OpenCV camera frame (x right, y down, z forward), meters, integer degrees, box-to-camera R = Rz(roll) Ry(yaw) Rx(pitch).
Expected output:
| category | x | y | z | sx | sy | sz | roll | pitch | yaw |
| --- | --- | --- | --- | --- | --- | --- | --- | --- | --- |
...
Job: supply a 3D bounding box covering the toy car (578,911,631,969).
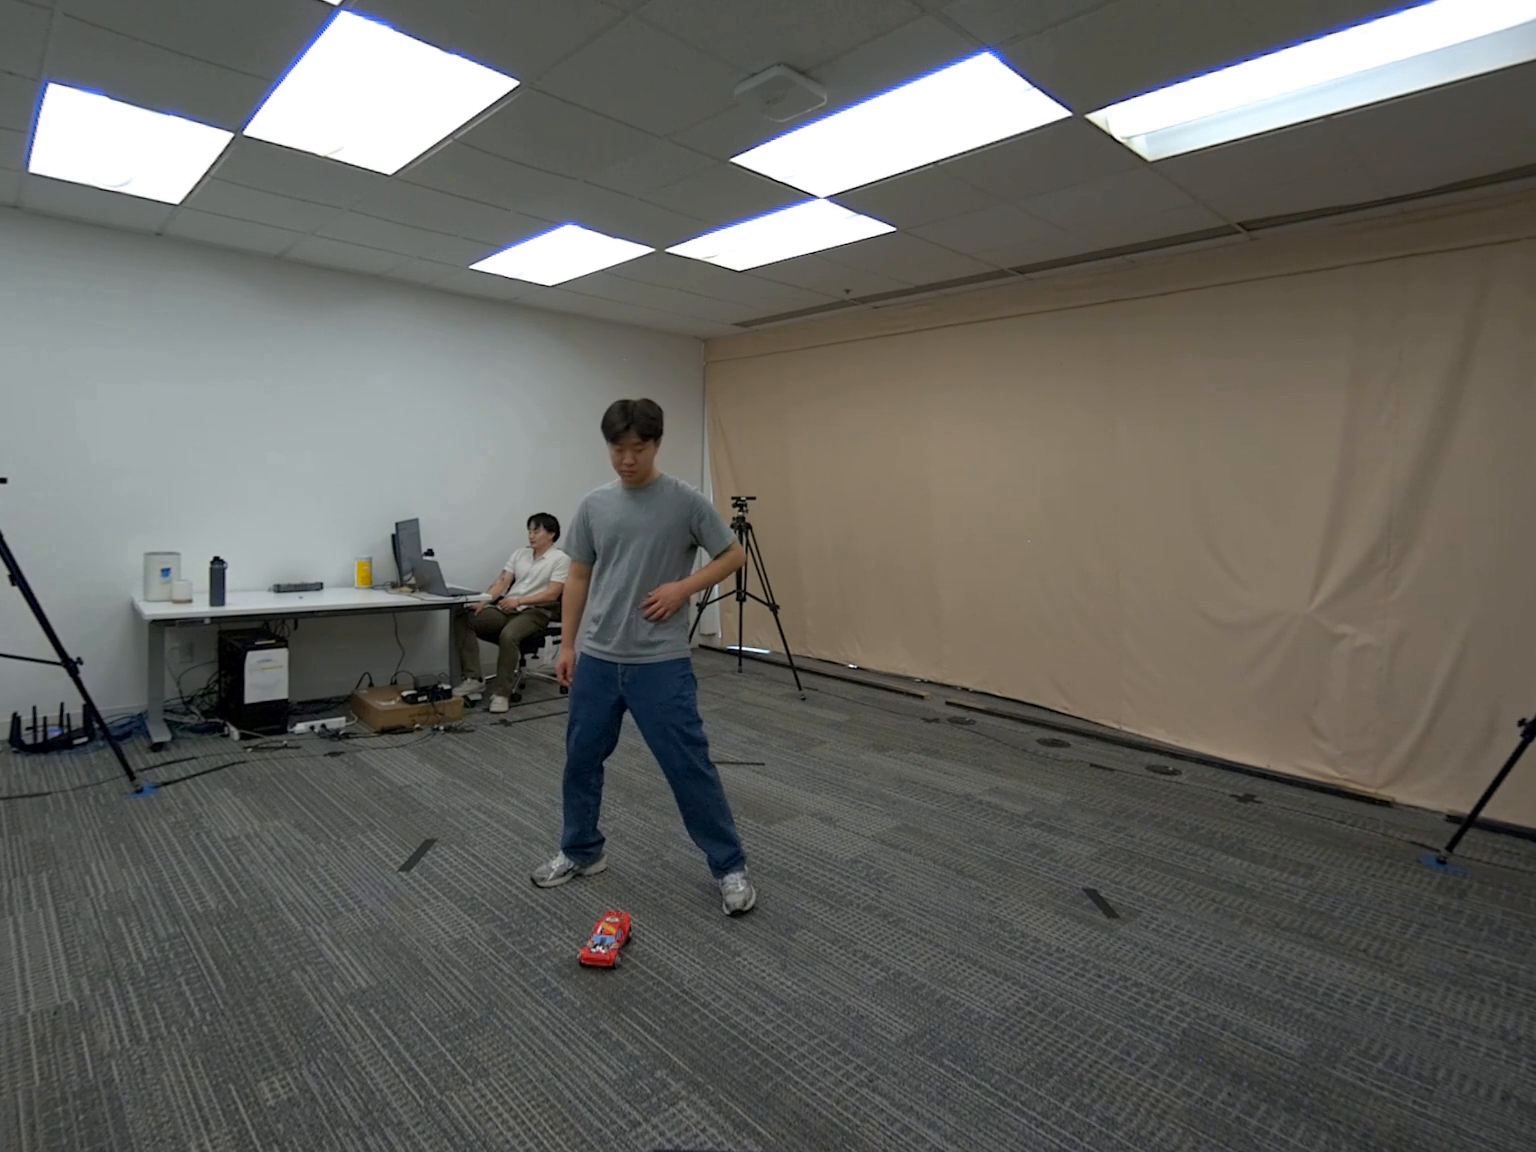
| category | x | y | z | sx | sy | sz | roll | pitch | yaw |
| --- | --- | --- | --- | --- | --- | --- | --- | --- | --- |
| toy car | -0.499 | 1.119 | 2.570 | 0.131 | 0.082 | 0.256 | 1 | 16 | 5 |
